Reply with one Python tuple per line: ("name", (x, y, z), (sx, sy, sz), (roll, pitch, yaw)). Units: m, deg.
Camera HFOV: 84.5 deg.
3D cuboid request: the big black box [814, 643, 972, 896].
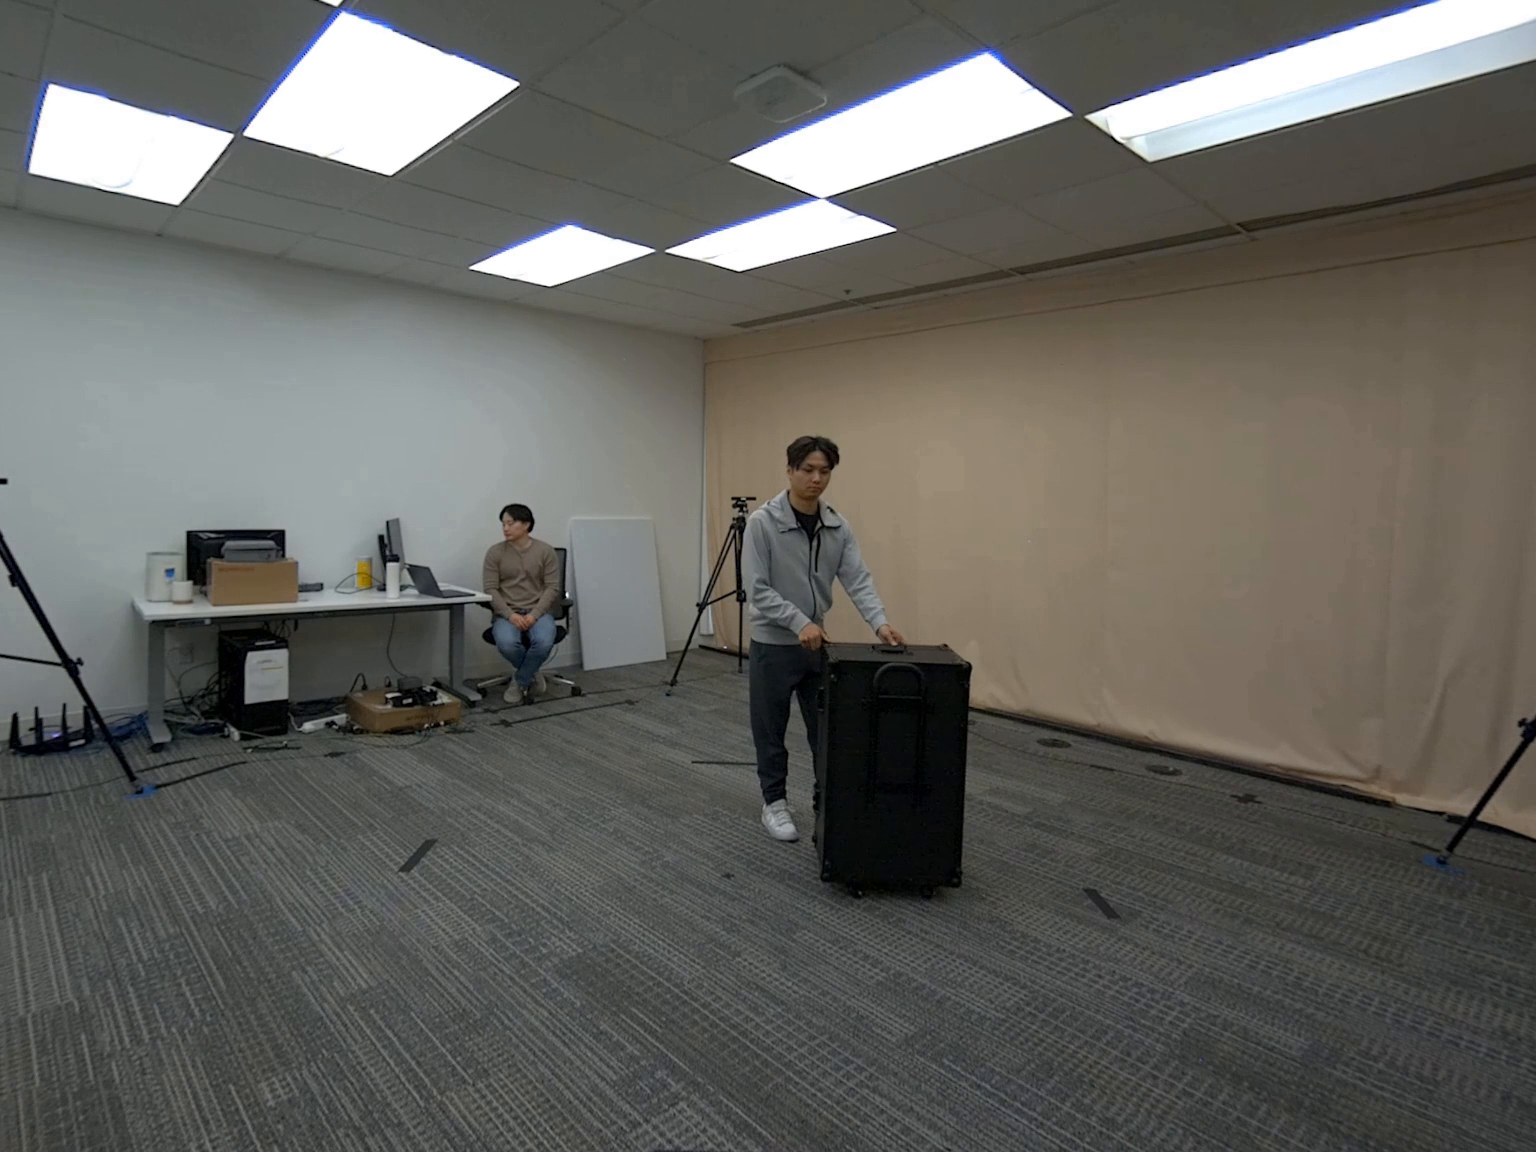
("big black box", (0.439, 0.701, 3.048), (0.521, 0.859, 0.397), (2, 4, 0))
